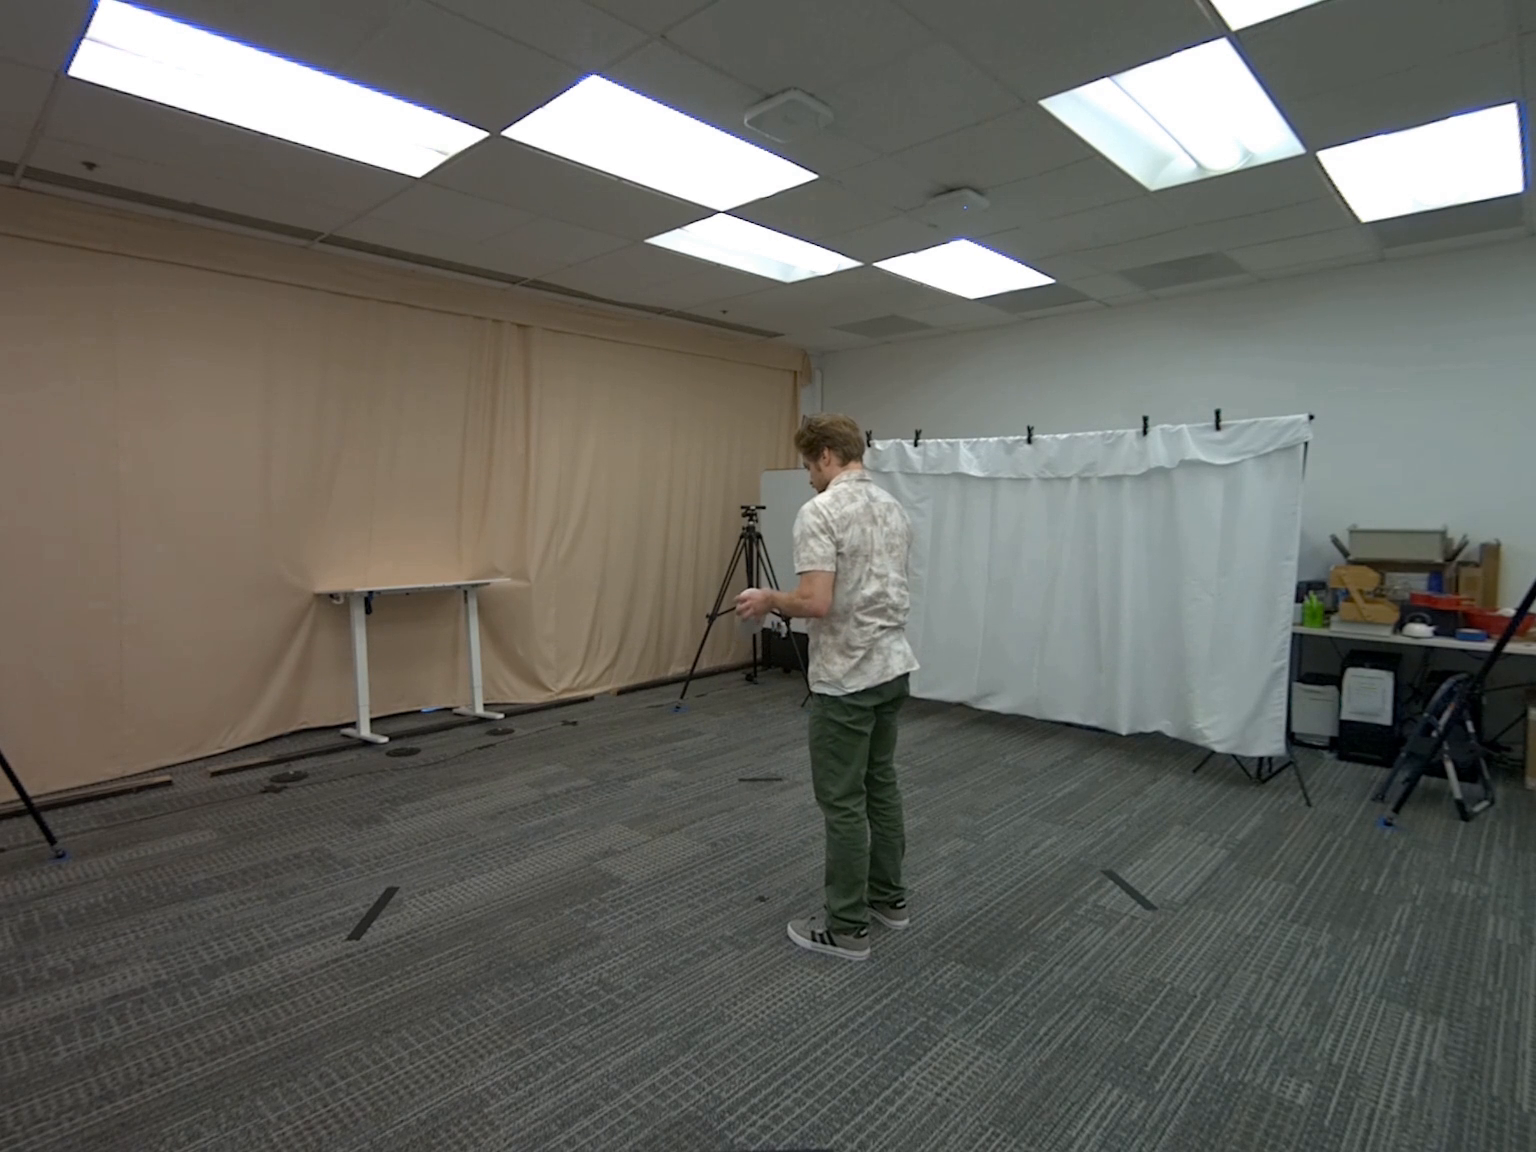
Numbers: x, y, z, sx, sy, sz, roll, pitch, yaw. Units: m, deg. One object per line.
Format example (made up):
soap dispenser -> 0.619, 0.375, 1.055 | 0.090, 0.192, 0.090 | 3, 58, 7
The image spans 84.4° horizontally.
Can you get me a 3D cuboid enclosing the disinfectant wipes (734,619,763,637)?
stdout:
disinfectant wipes -> -0.056, 0.129, 2.909 | 0.117, 0.119, 0.215 | 0, -17, -3
